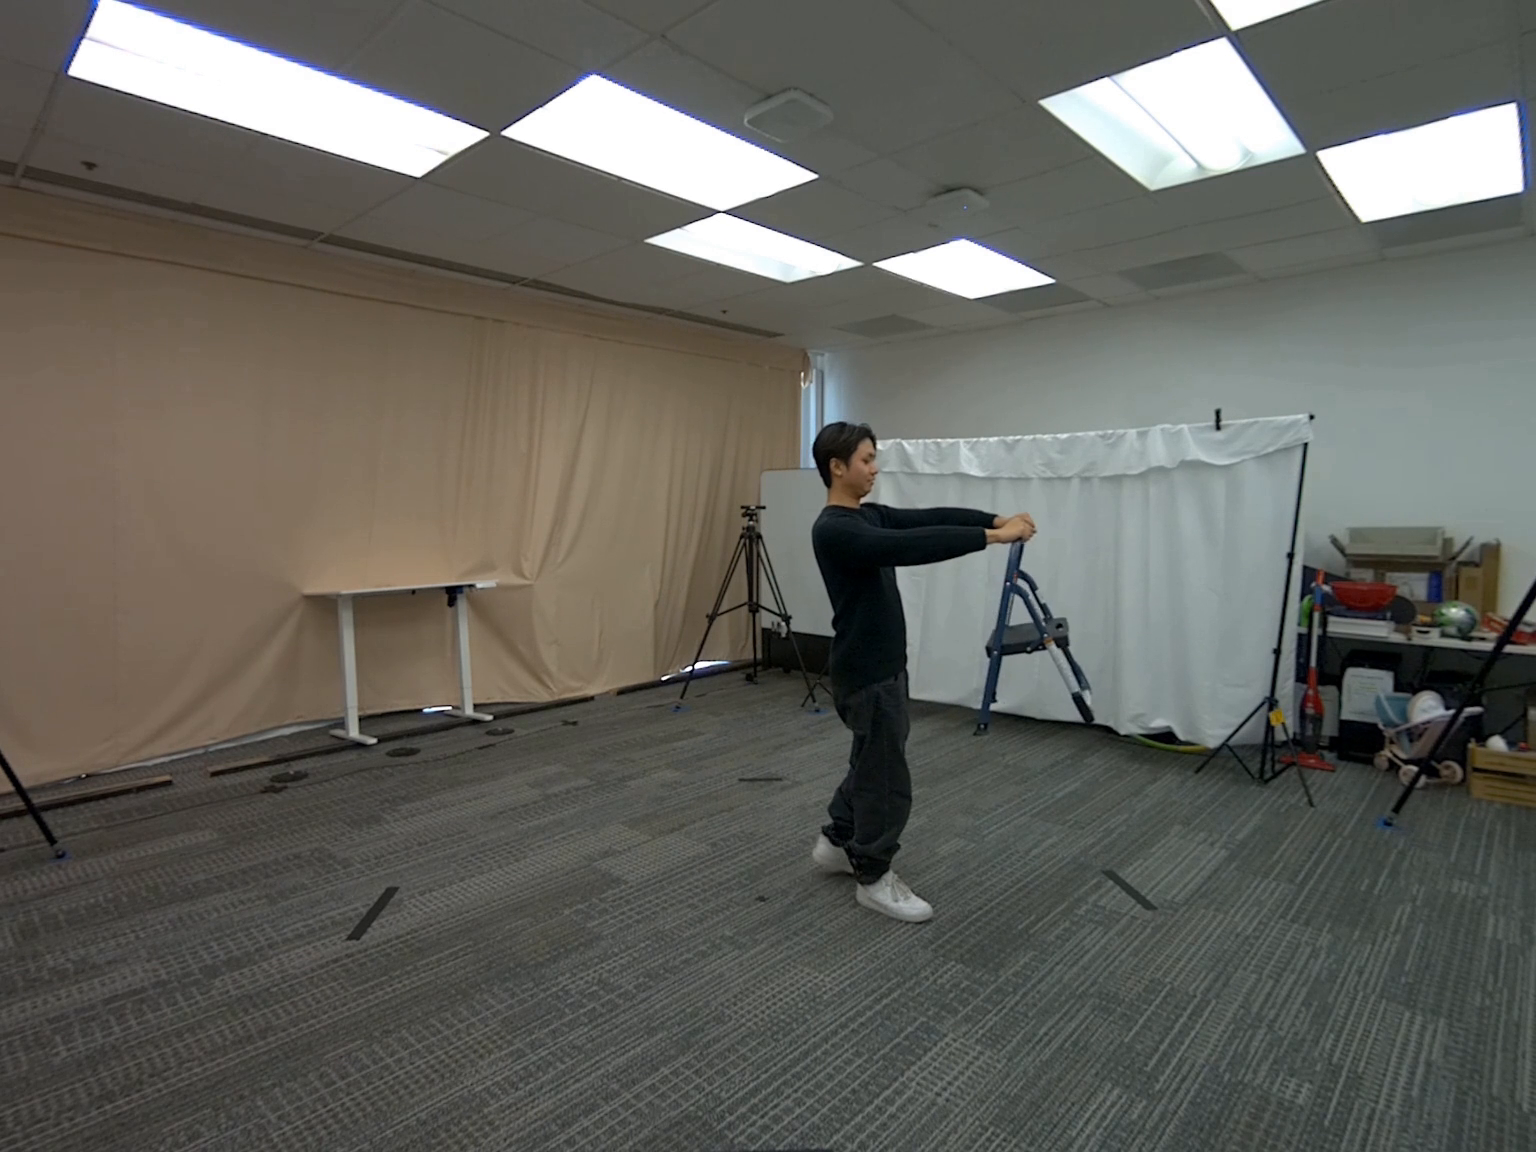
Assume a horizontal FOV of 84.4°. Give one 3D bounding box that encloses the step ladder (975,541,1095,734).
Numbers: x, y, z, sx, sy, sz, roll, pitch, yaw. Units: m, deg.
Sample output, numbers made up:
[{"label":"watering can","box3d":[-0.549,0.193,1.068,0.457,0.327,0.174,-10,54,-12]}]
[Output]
[{"label":"step ladder","box3d":[0.808,0.145,2.701,0.356,0.605,0.423,-9,2,21]}]
